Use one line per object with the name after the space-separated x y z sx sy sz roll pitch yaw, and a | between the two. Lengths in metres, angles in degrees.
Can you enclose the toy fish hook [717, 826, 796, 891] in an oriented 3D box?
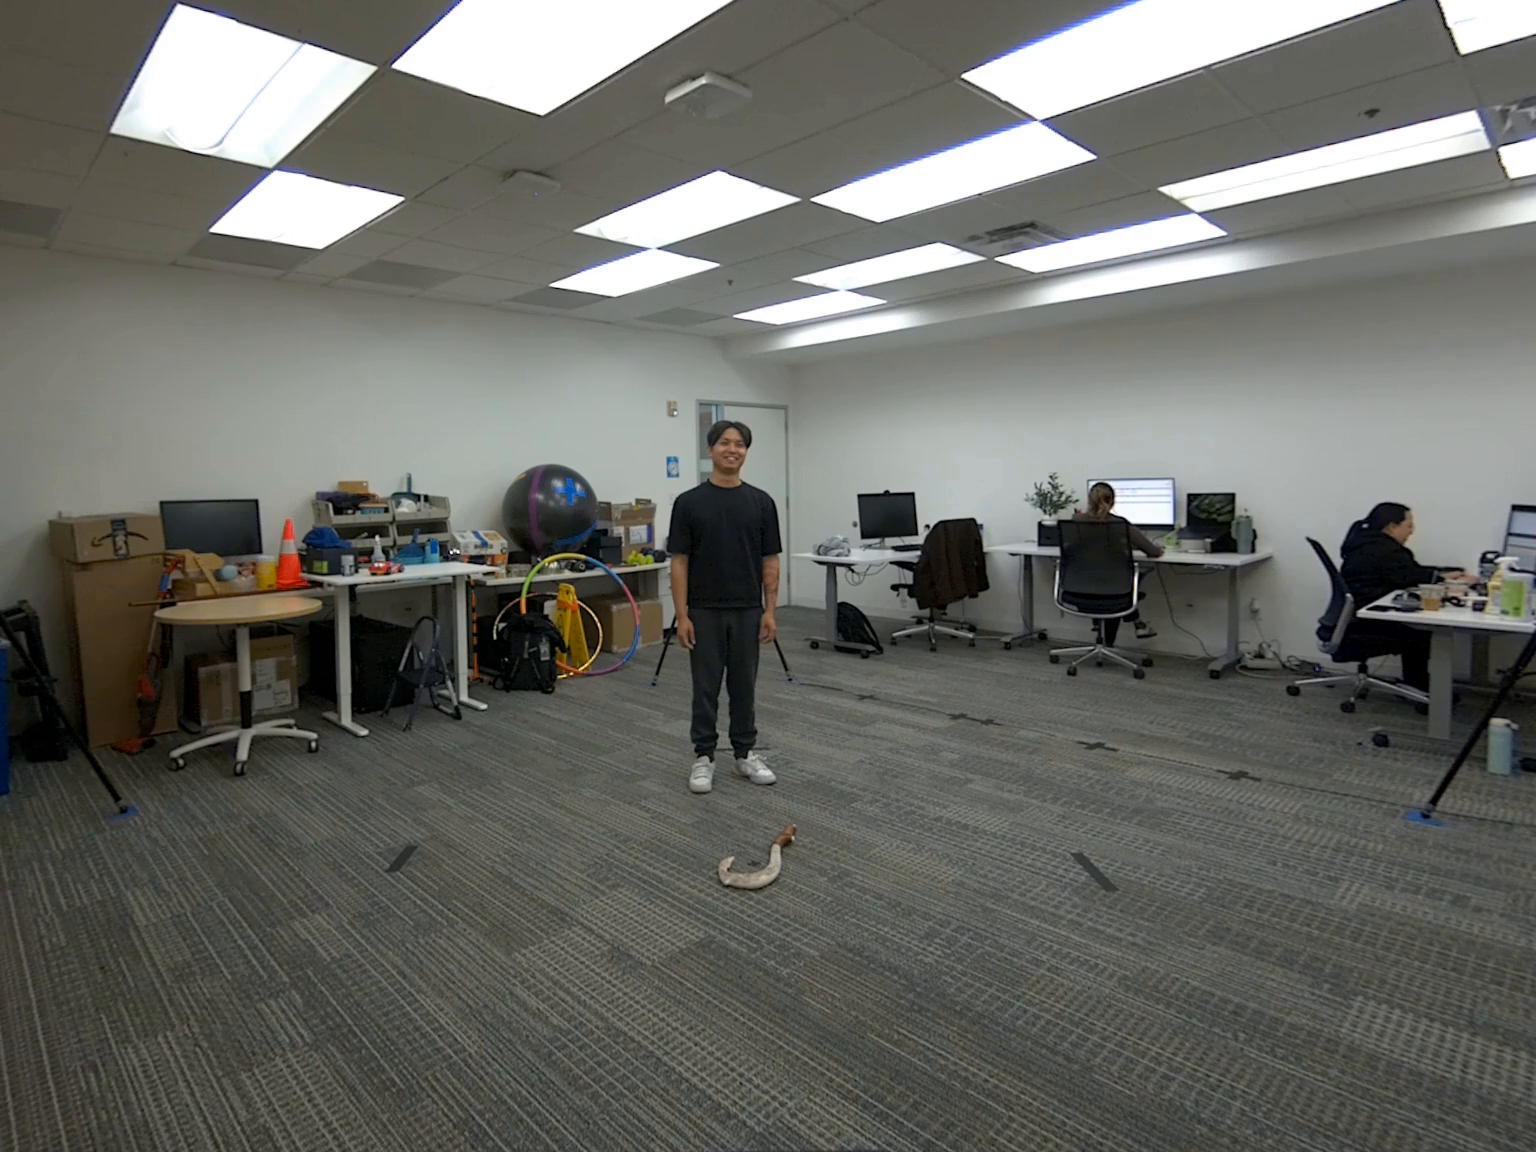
-0.033 1.021 3.144 0.229 0.048 0.499 3 7 18 | toy fish hook
